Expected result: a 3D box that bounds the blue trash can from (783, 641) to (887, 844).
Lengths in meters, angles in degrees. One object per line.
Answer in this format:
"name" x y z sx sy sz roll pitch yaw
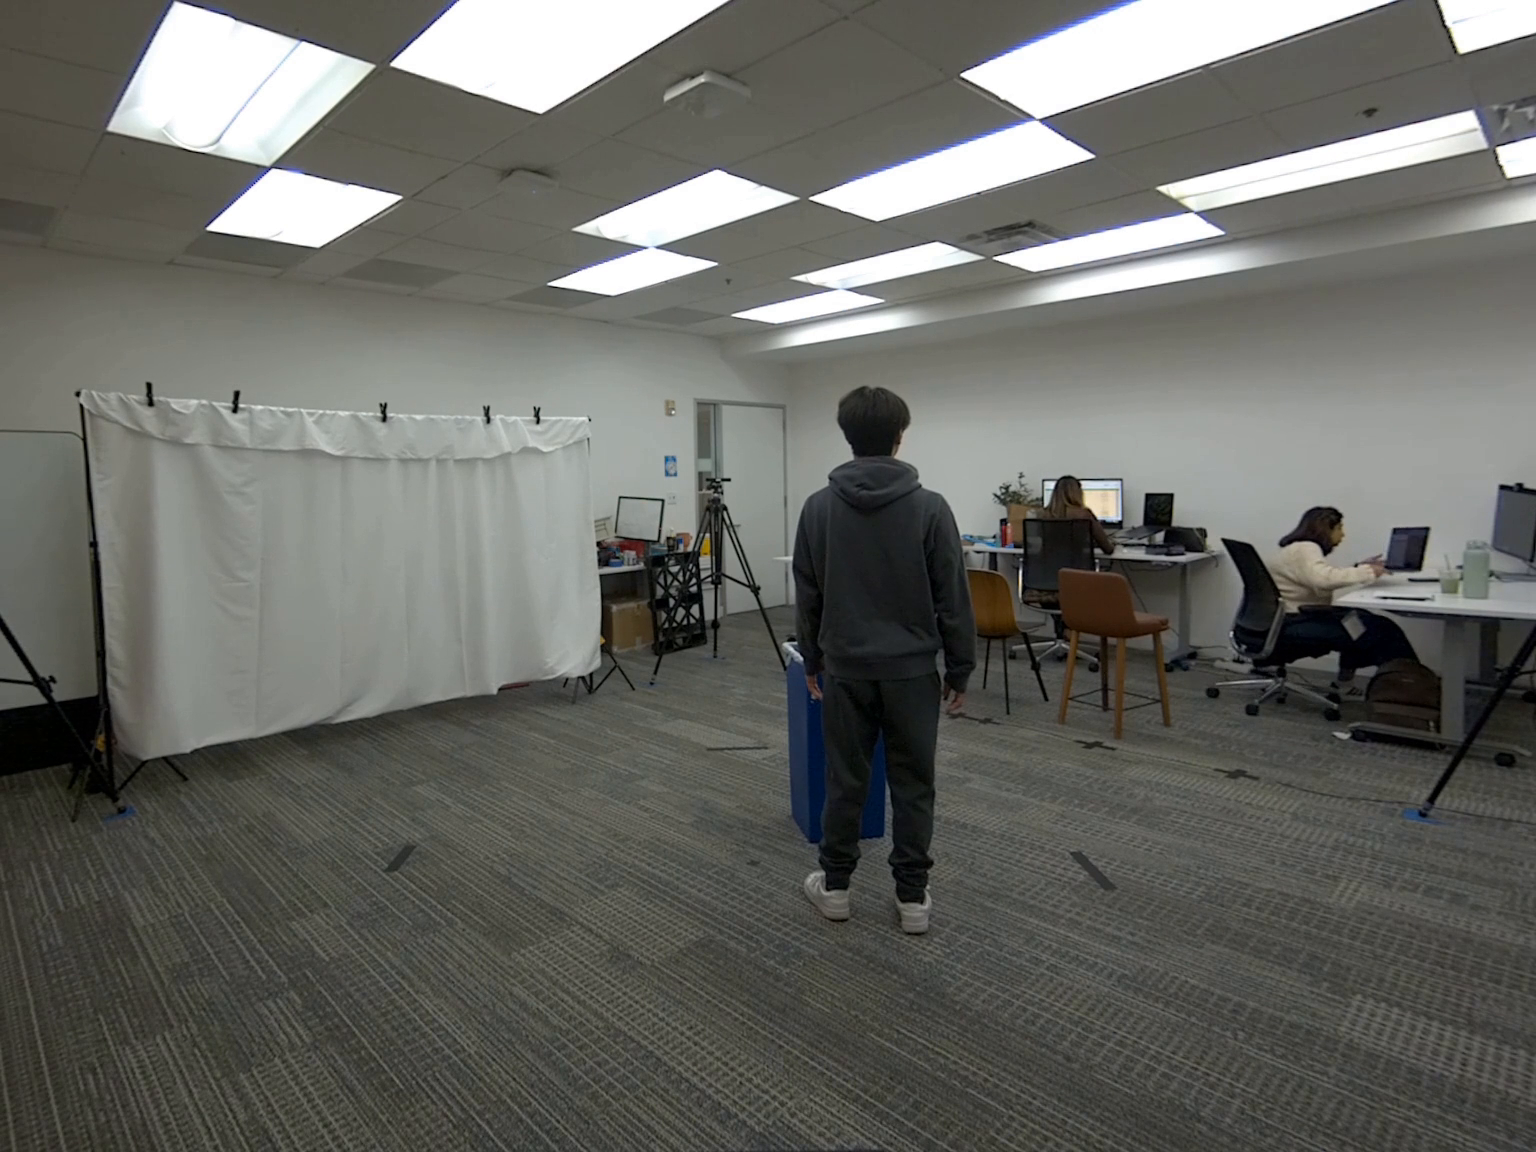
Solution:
"blue trash can" 0.281 0.644 3.409 0.370 0.711 0.383 -2 4 -11
